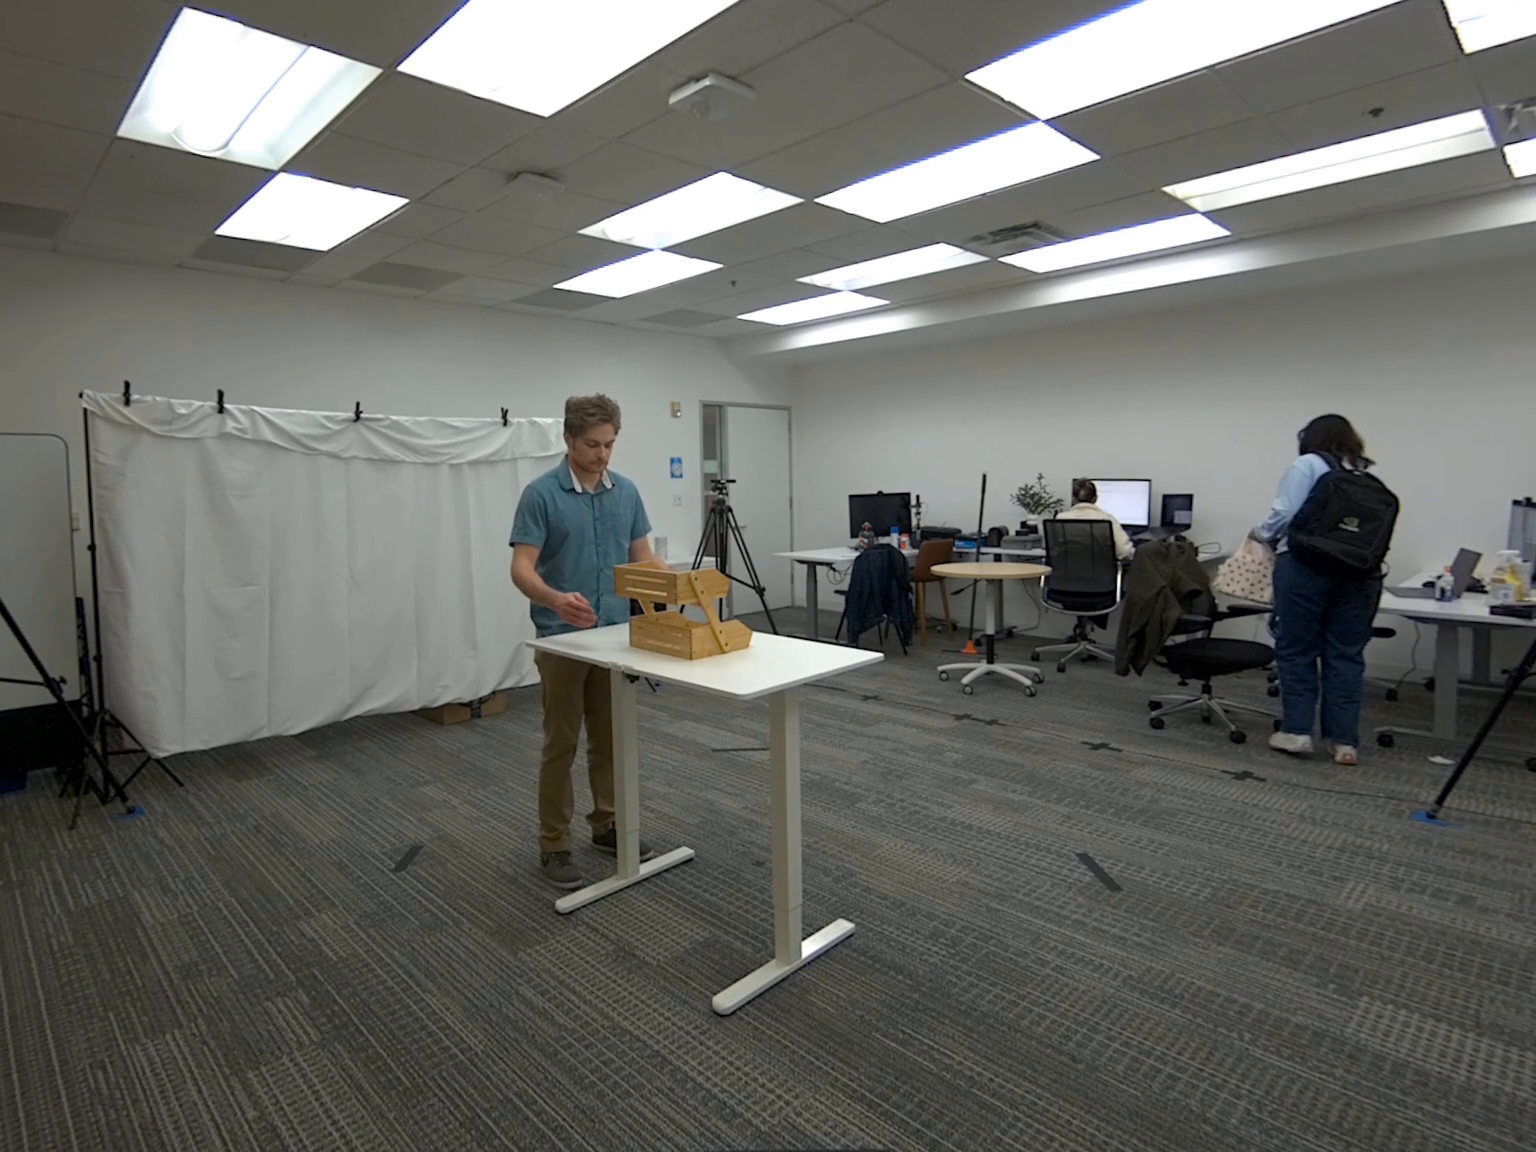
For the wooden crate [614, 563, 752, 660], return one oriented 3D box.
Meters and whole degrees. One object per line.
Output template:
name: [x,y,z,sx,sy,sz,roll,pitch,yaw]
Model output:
wooden crate: [-0.257,0.090,2.634,0.294,0.272,0.334,-7,9,-44]
